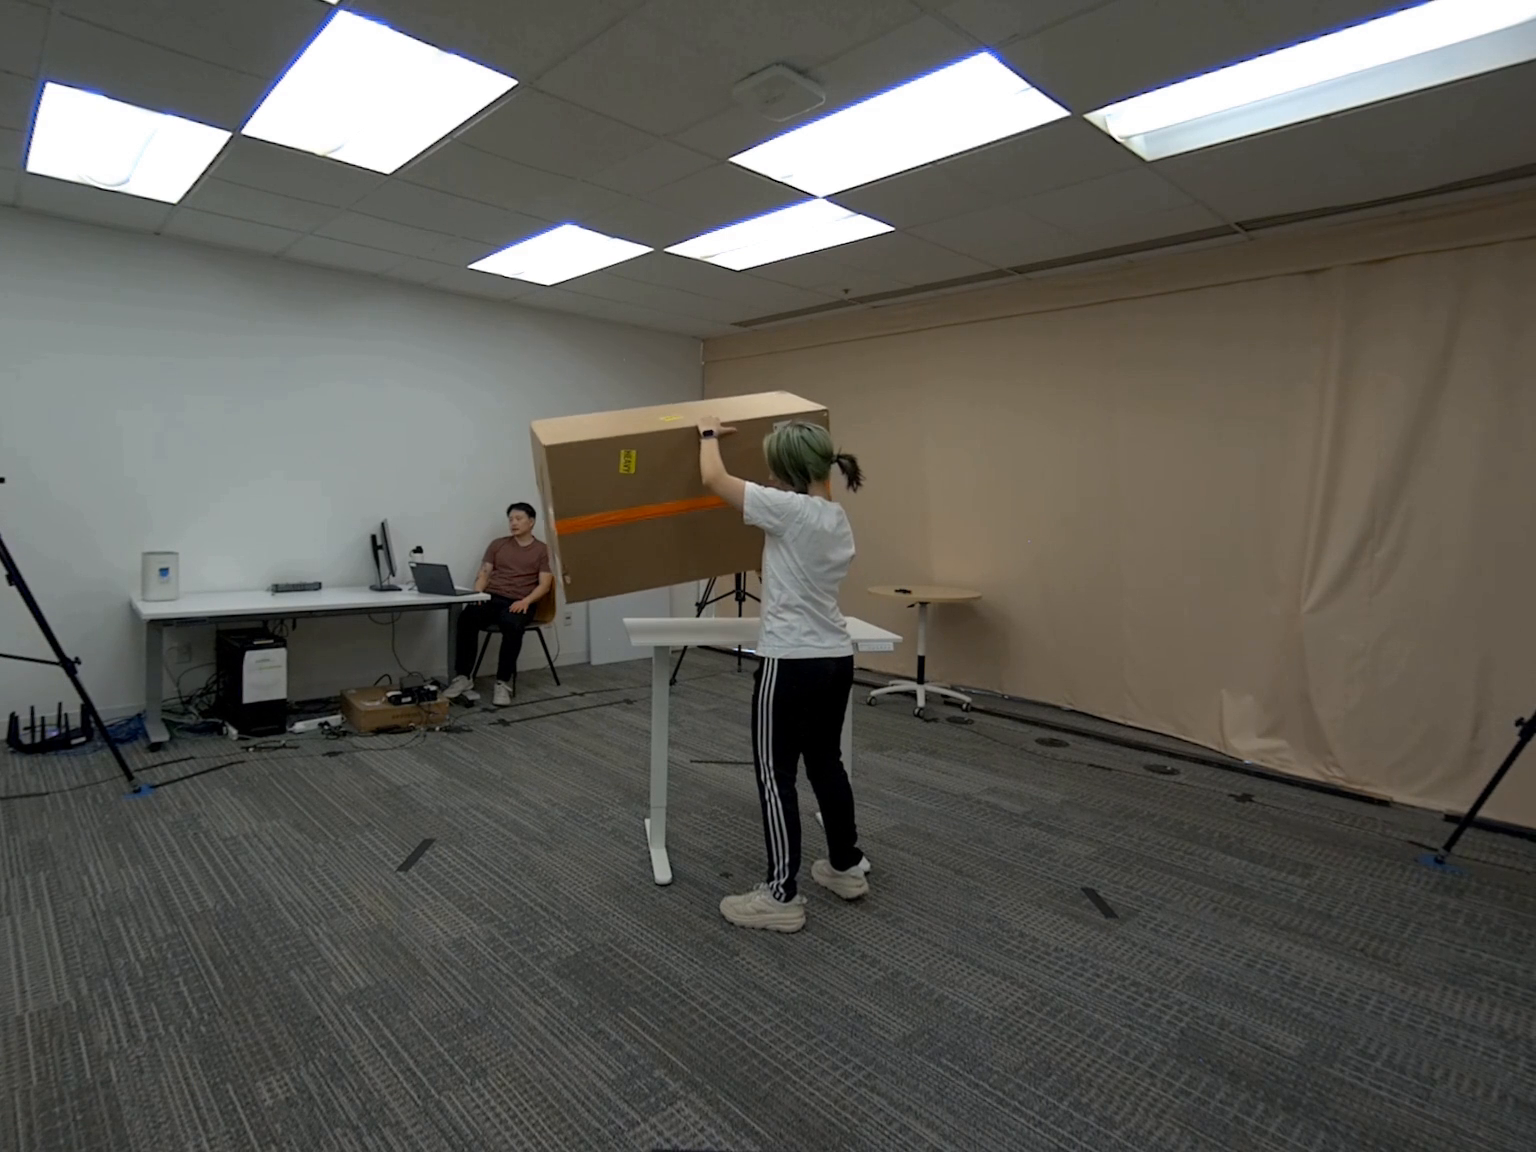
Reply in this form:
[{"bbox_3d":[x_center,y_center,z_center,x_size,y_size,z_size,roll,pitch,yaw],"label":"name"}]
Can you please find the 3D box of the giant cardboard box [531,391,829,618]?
[{"bbox_3d":[-0.324,-0.318,3.155,1.015,0.574,0.459,-11,24,-18],"label":"giant cardboard box"}]
